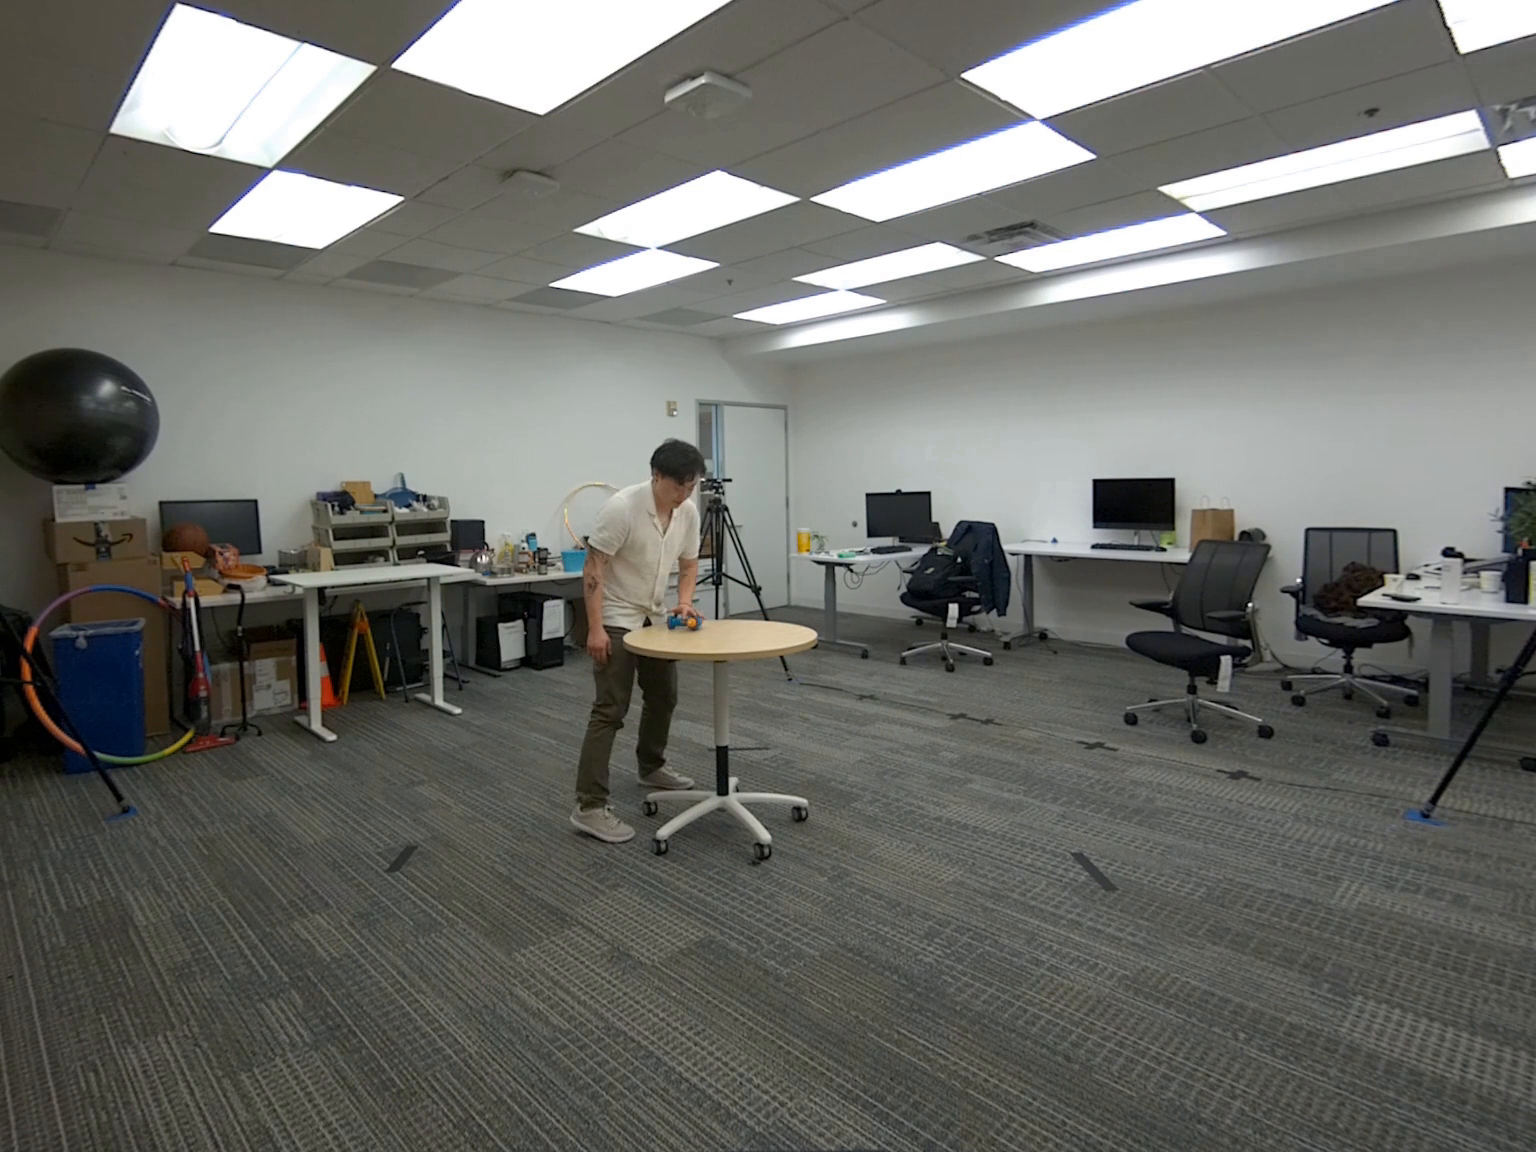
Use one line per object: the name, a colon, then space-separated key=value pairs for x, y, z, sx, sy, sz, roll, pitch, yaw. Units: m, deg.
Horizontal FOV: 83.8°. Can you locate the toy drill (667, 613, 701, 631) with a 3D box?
toy drill: x=-0.345 y=0.195 z=3.492 sx=0.147 sy=0.061 sz=0.168 roll=-4 pitch=-1 yaw=9
